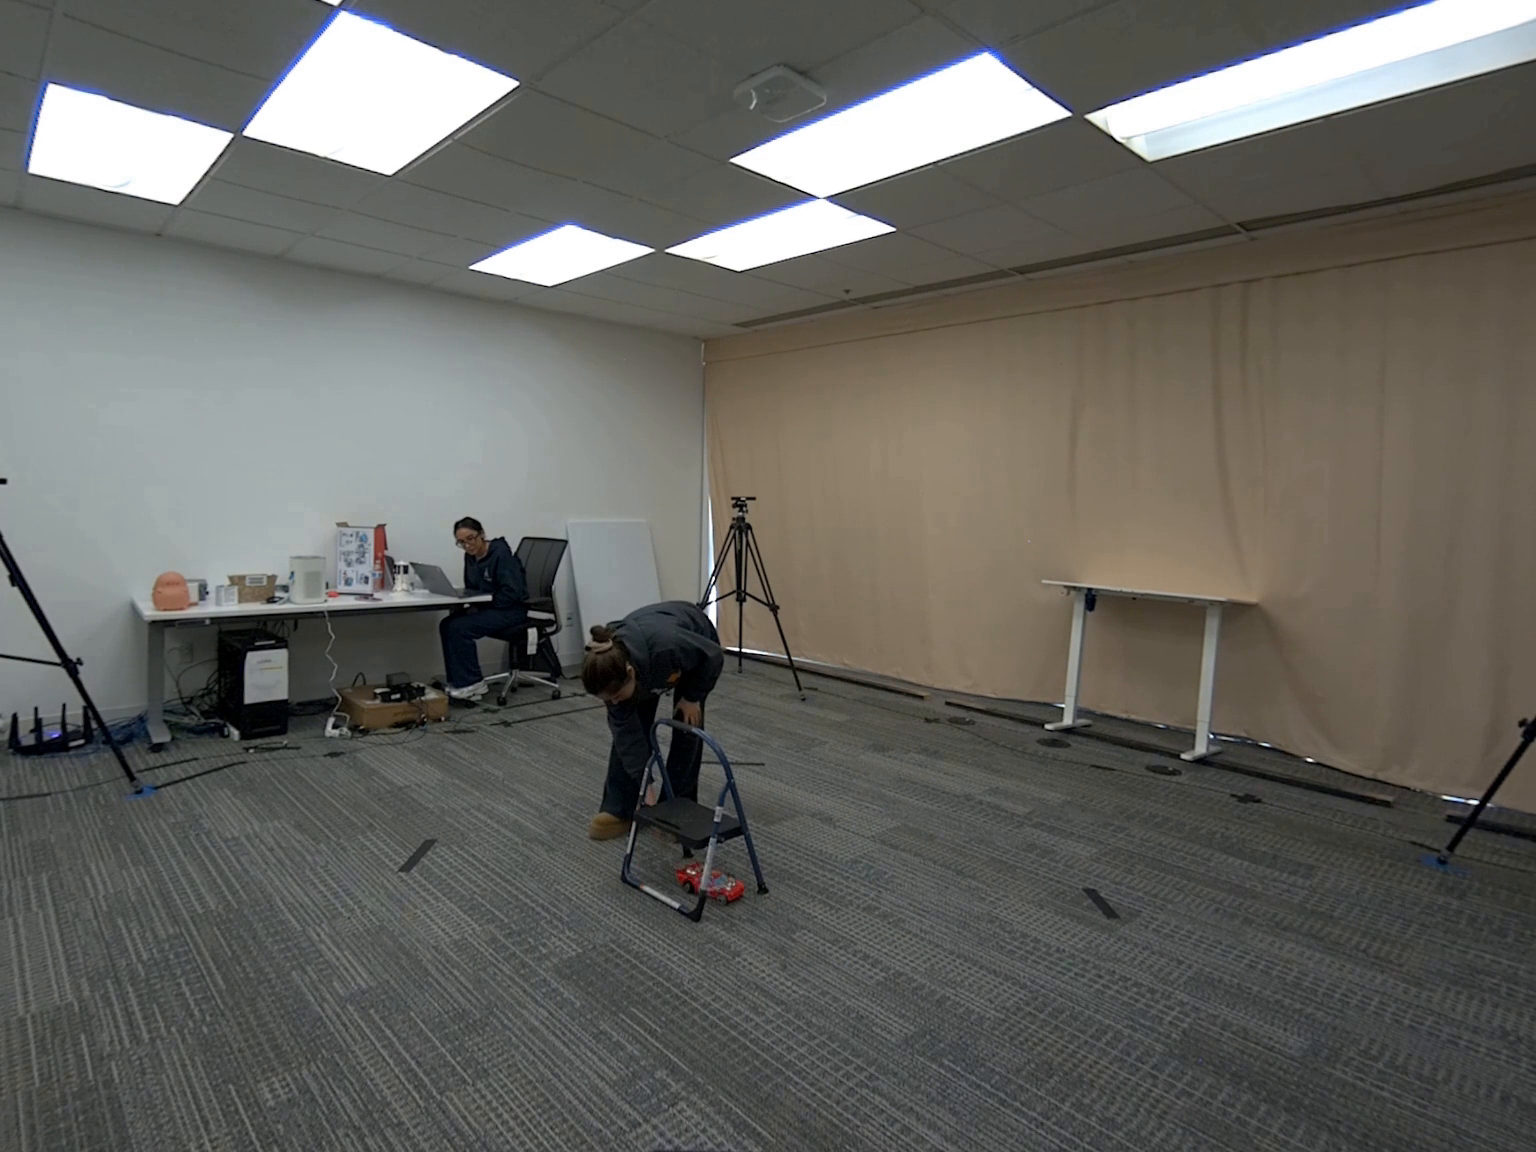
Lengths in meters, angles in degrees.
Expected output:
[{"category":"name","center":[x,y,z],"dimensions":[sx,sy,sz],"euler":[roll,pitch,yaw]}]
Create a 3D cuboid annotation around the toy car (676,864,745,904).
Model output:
[{"category":"toy car","center":[-0.229,1.088,2.989],"dimensions":[0.261,0.083,0.128],"euler":[17,13,31]}]
